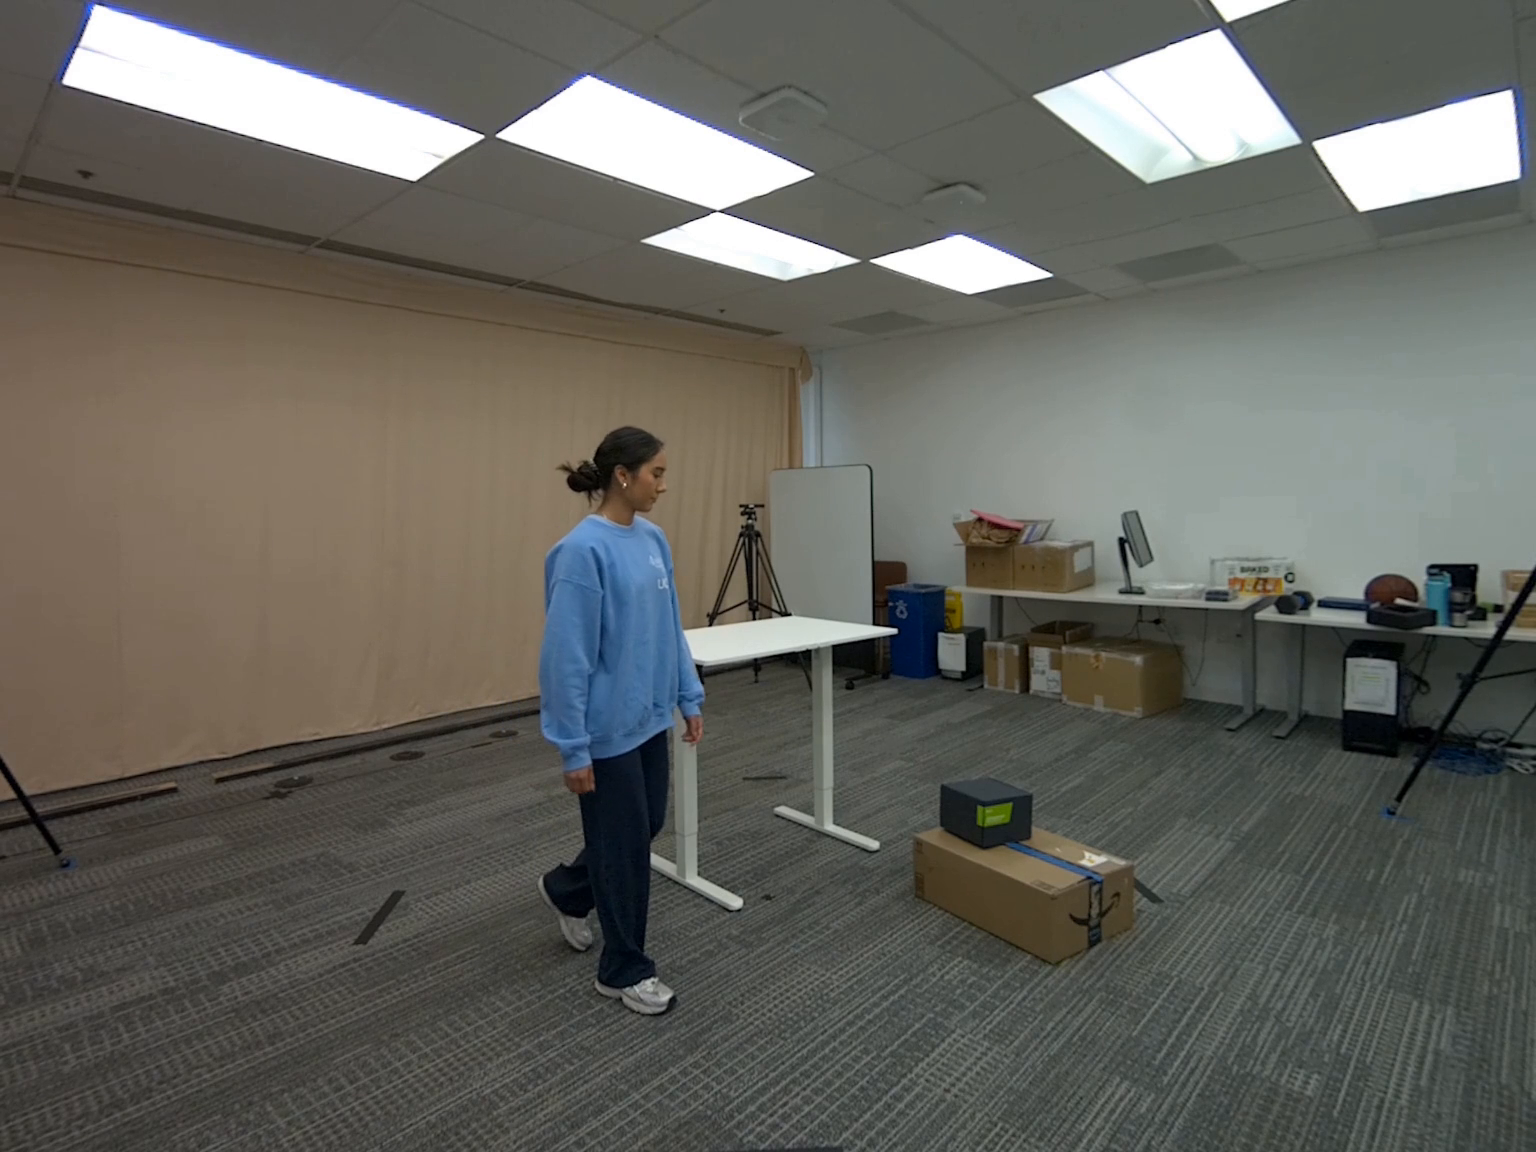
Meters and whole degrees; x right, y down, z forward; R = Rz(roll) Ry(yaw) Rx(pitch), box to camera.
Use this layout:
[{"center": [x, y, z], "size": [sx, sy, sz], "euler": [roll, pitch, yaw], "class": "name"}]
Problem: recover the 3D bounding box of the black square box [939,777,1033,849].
[{"center": [0.770, 0.822, 2.960], "size": [0.222, 0.156, 0.223], "euler": [1, 2, -27], "class": "black square box"}]
